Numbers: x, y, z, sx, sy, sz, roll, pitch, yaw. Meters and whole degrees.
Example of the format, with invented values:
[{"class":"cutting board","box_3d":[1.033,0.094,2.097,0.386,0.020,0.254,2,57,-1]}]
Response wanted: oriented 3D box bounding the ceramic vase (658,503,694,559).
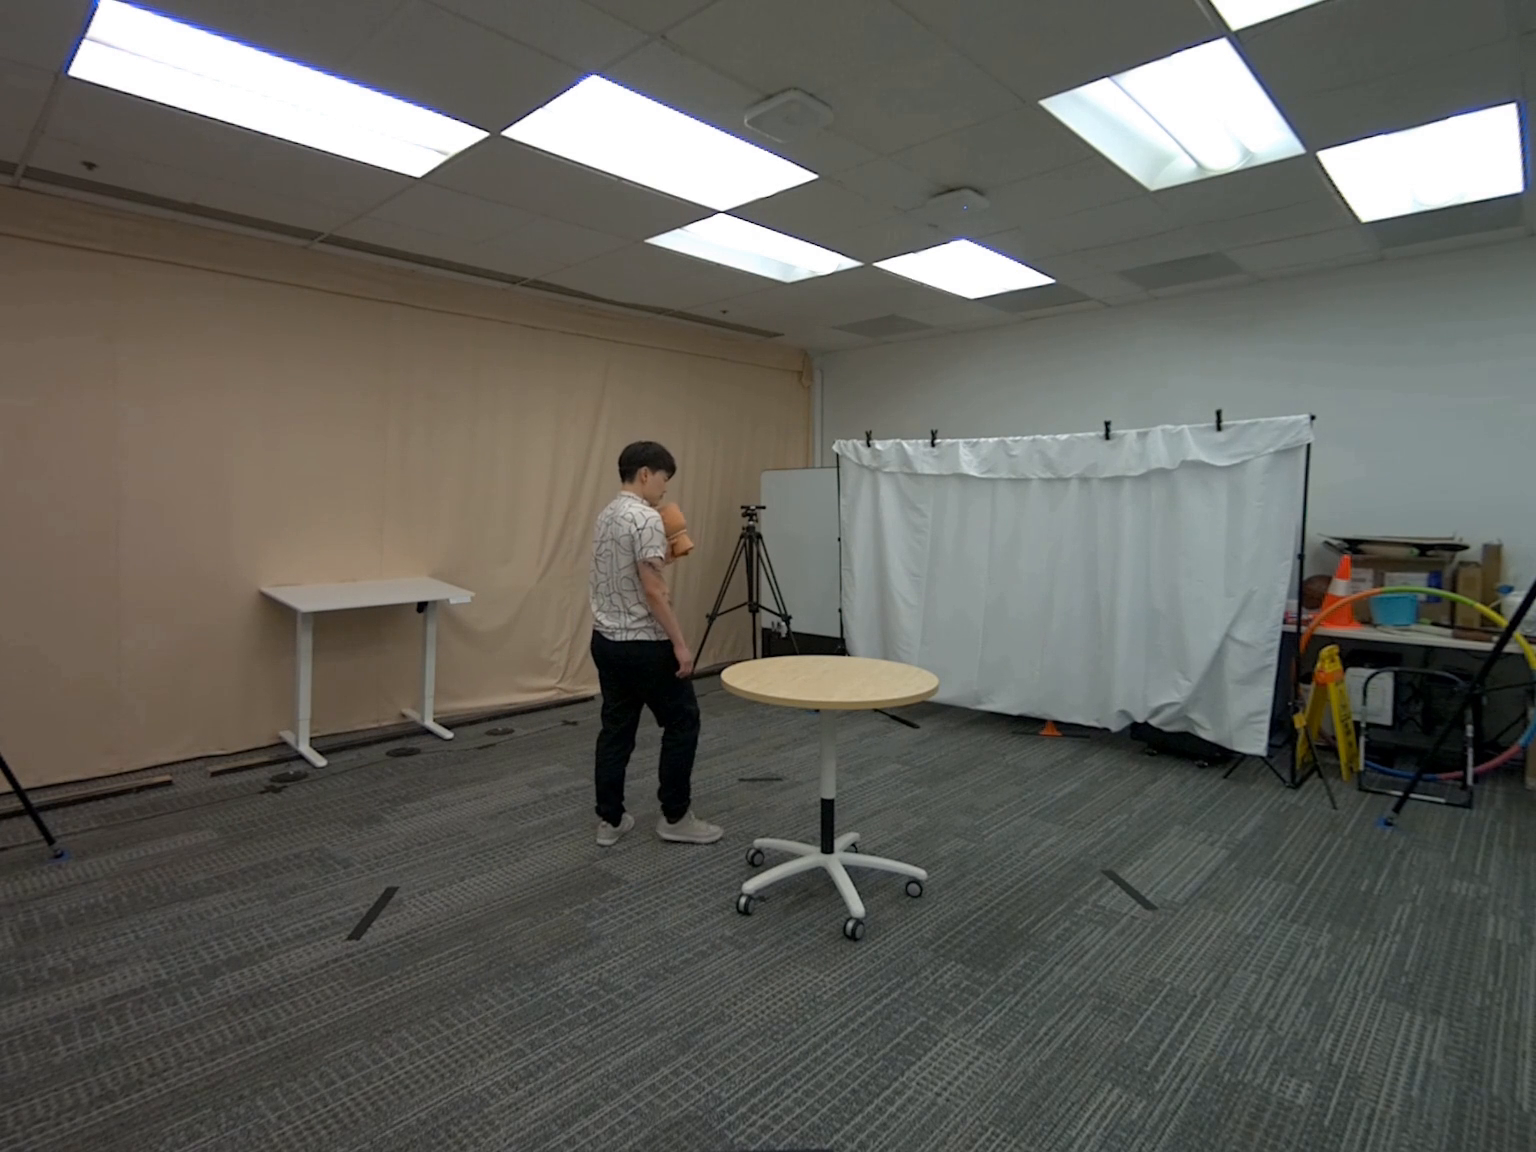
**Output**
[{"class":"ceramic vase","box_3d":[-0.423,-0.208,3.789,0.156,0.221,0.137,-25,-5,-35]}]
